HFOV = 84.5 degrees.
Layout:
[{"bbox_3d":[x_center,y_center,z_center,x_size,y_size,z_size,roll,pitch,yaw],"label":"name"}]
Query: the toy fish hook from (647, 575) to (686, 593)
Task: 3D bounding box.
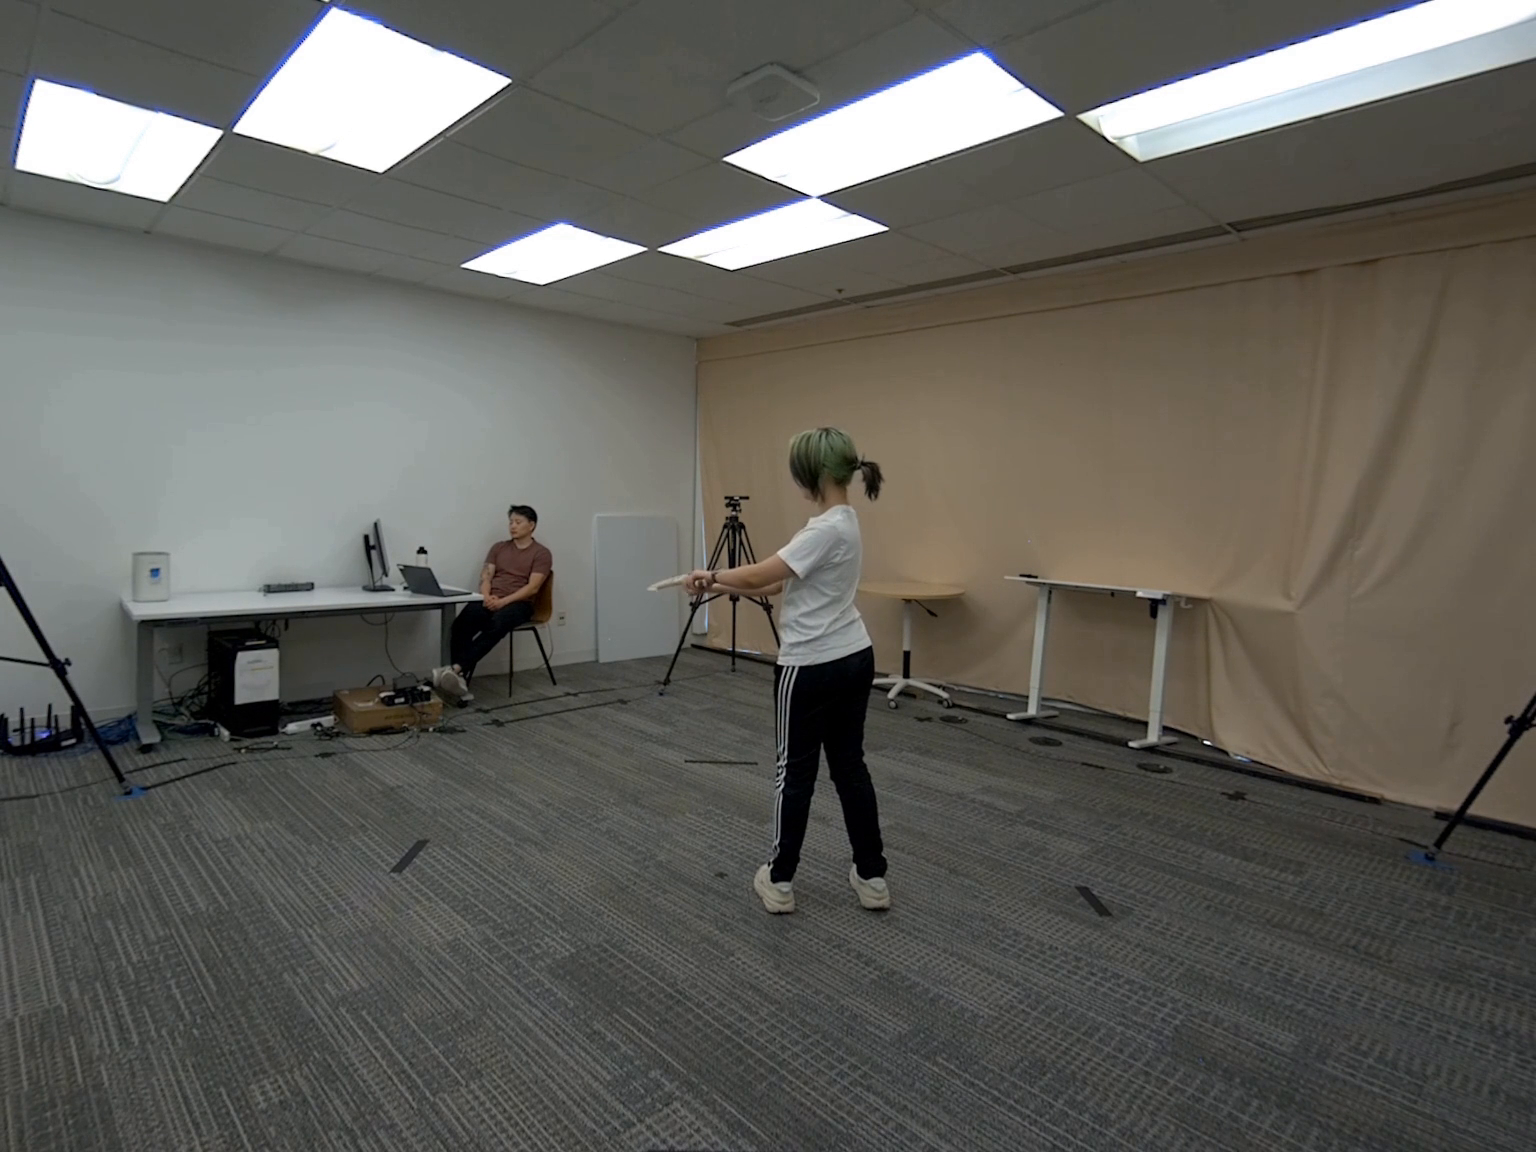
[{"bbox_3d":[-0.353,0.036,3.187,0.223,0.048,0.510,-17,5,-8],"label":"toy fish hook"}]
